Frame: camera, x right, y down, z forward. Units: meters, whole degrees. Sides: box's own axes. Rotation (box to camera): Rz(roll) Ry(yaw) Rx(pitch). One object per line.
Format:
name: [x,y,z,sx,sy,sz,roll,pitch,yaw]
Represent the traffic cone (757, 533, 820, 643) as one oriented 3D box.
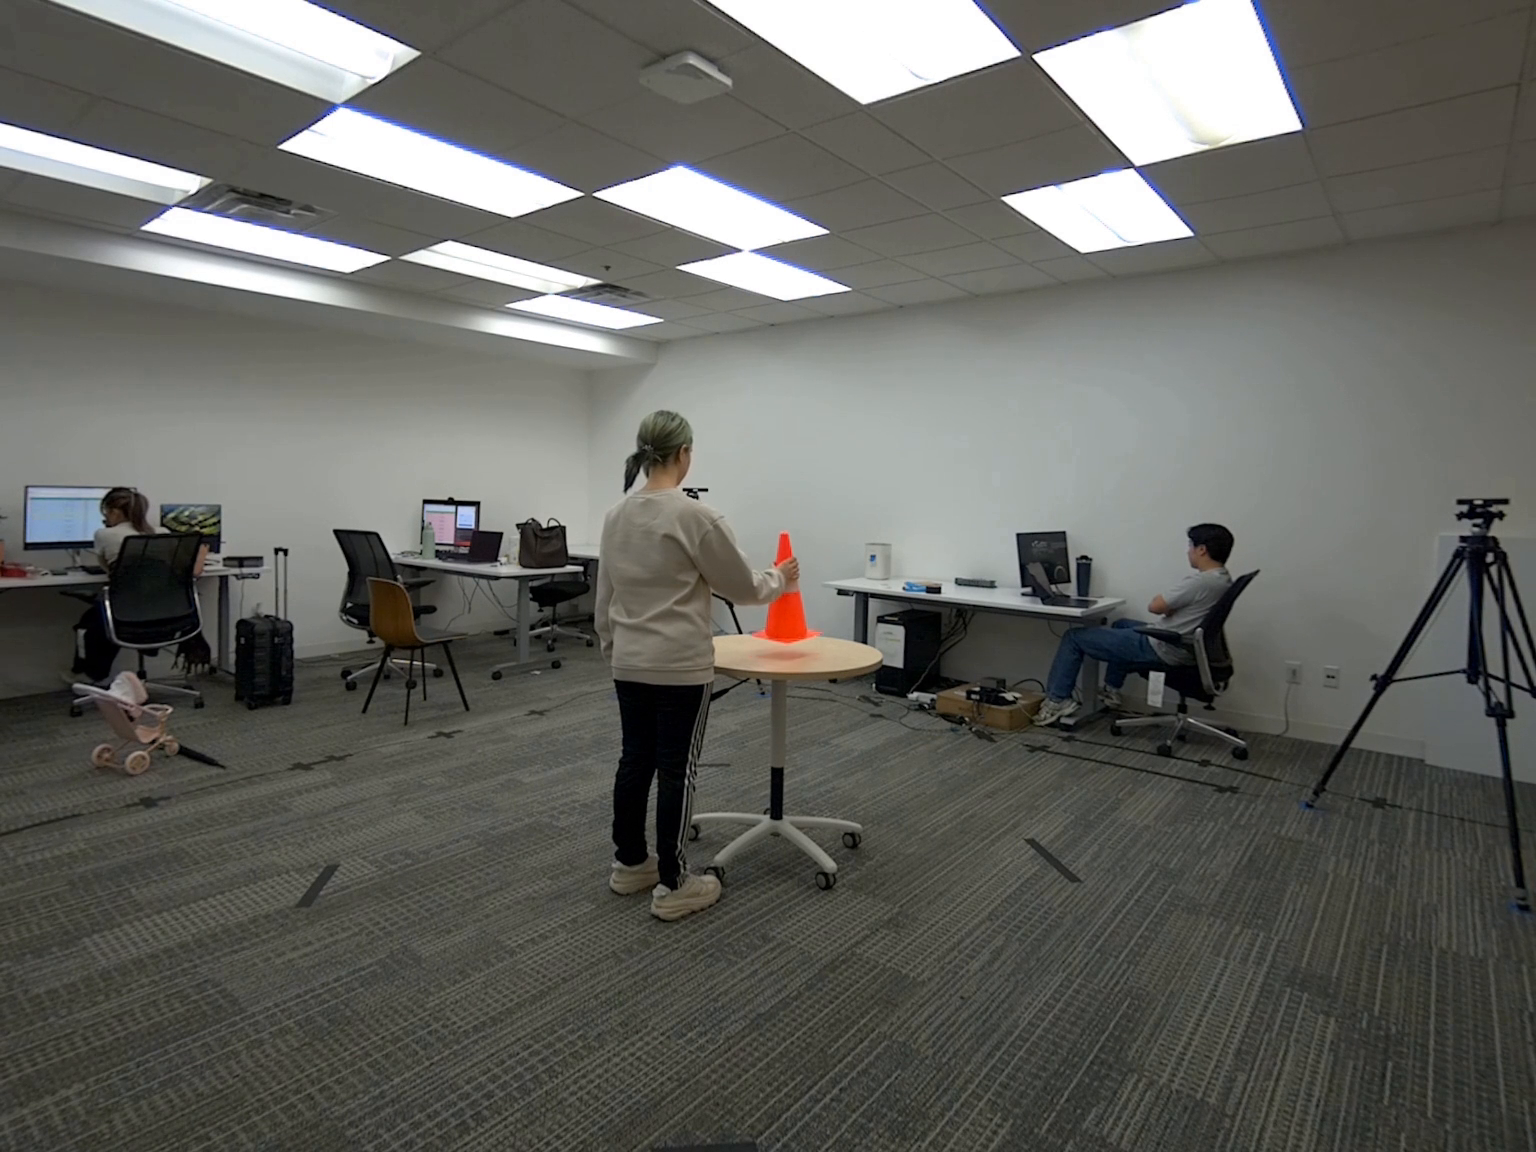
traffic cone: [0.058,0.026,3.113,0.211,0.380,0.198,7,10,33]
